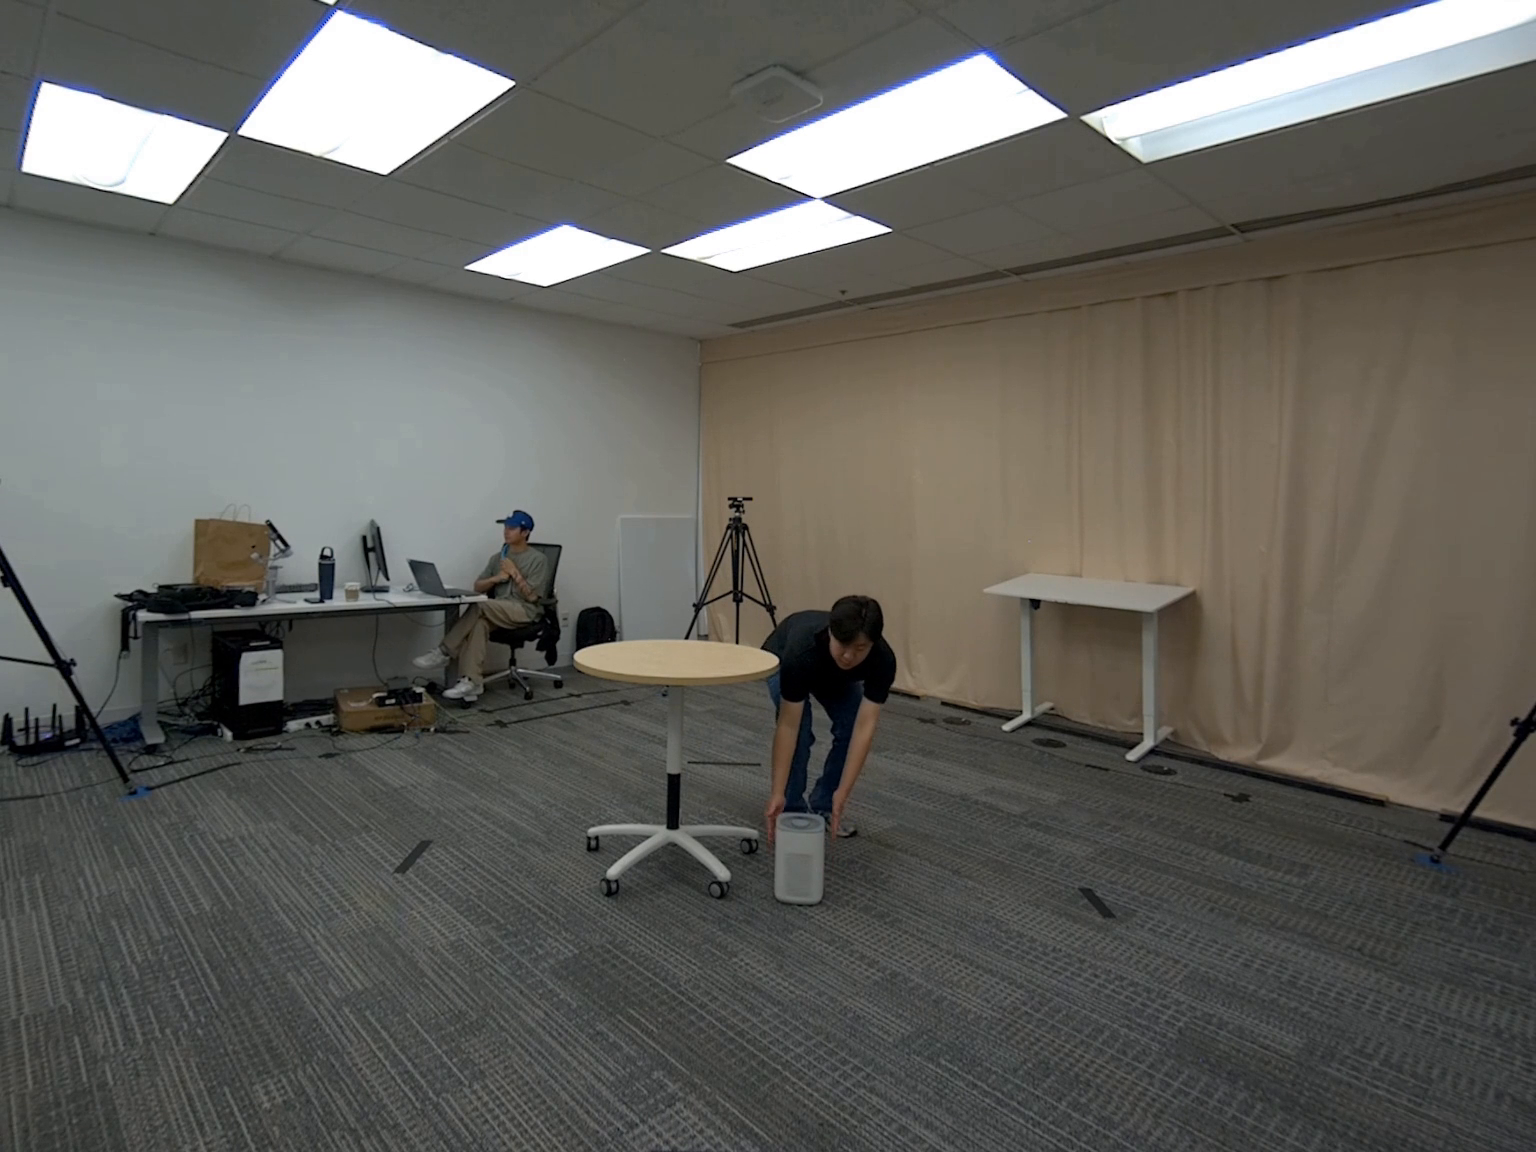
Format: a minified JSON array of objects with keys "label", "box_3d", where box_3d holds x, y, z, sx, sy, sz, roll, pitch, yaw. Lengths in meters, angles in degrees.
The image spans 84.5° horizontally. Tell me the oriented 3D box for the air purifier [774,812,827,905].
[{"label":"air purifier","box_3d":[0.105,0.992,2.953,0.172,0.264,0.170,2,4,6]}]
